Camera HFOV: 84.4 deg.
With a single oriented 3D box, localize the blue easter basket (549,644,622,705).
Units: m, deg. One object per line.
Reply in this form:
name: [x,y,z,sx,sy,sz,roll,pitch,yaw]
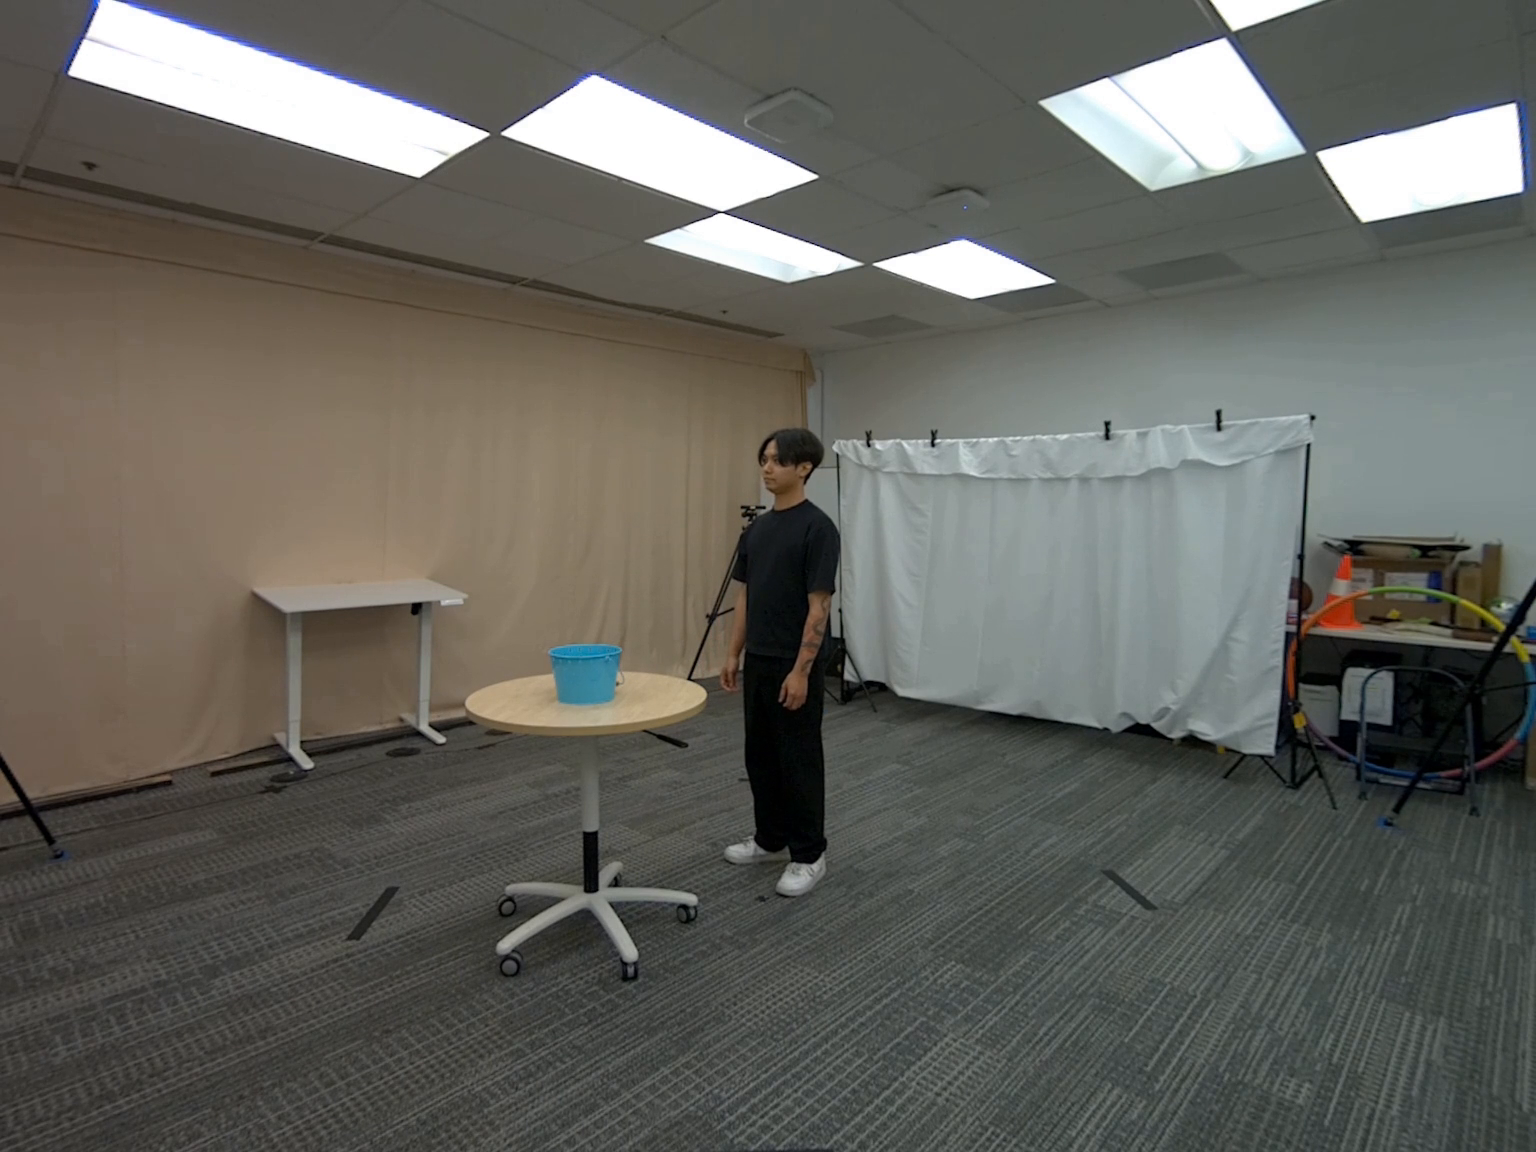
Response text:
blue easter basket: [-0.579,0.316,2.670,0.243,0.155,0.244,0,5,-2]
